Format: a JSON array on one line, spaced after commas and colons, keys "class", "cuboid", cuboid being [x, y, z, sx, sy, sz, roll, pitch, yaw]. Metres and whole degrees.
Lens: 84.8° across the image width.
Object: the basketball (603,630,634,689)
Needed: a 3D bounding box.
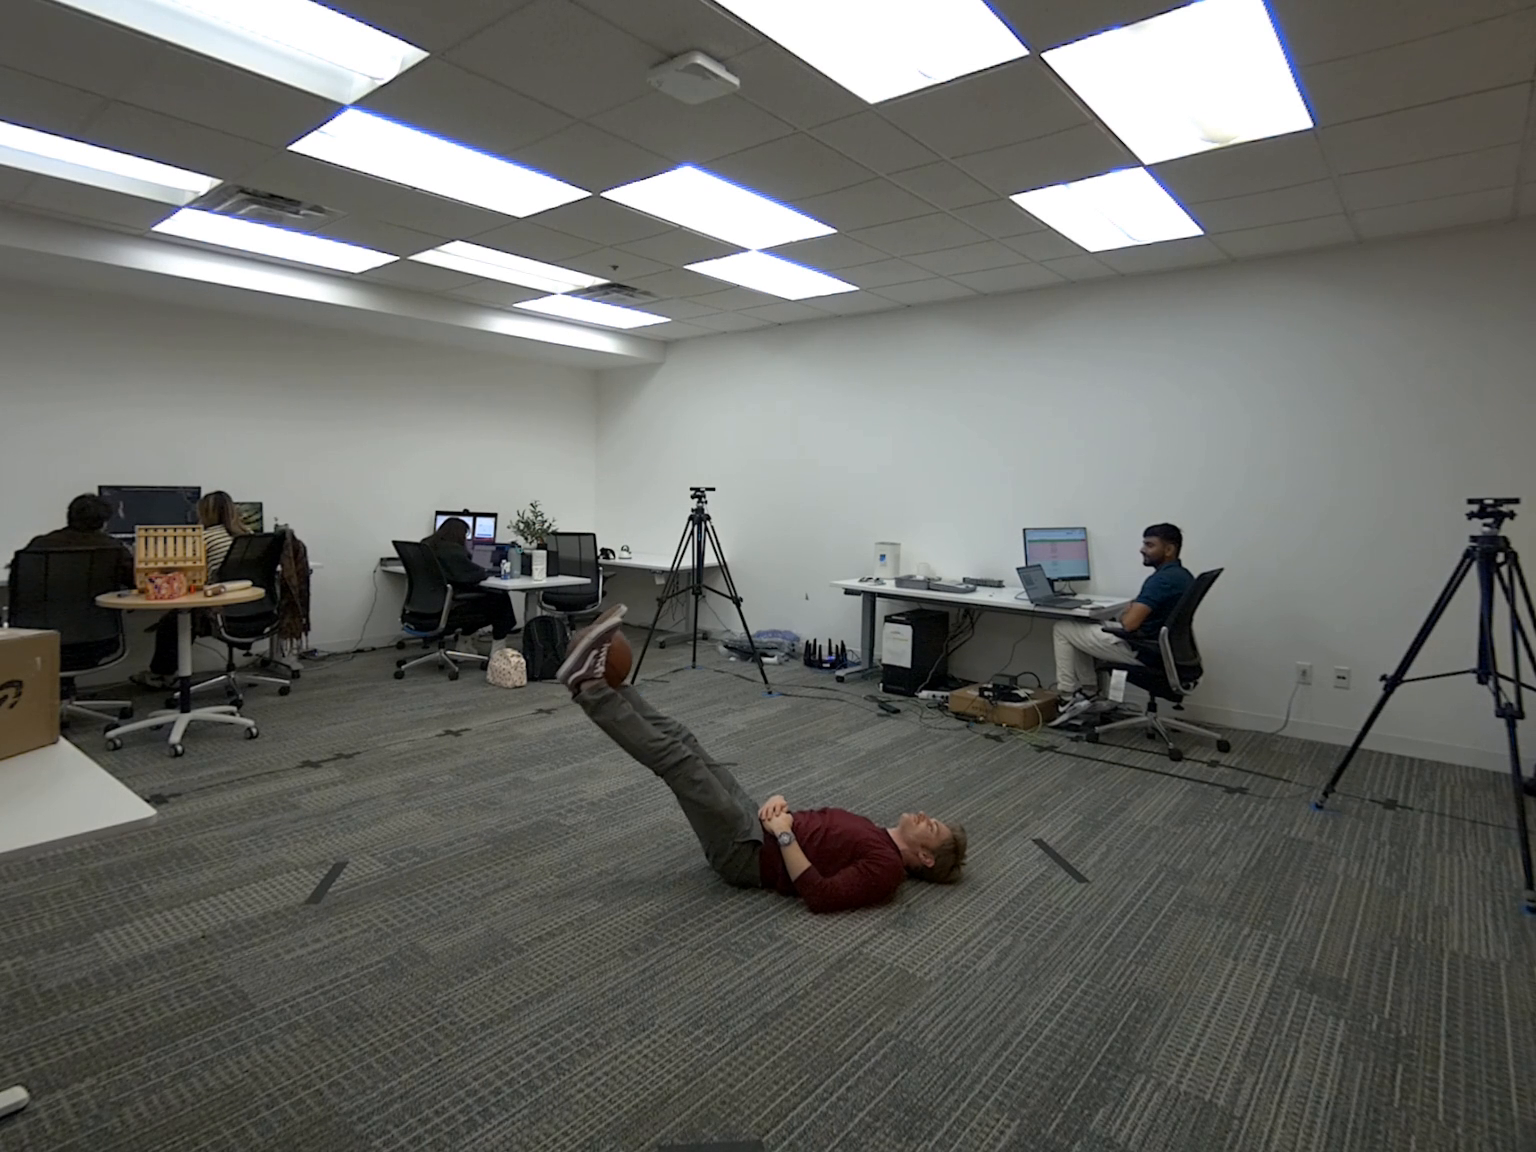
[{"class": "basketball", "cuboid": [-0.598, 0.292, 3.029, 0.236, 0.235, 0.237, -3, 3, -2]}]
